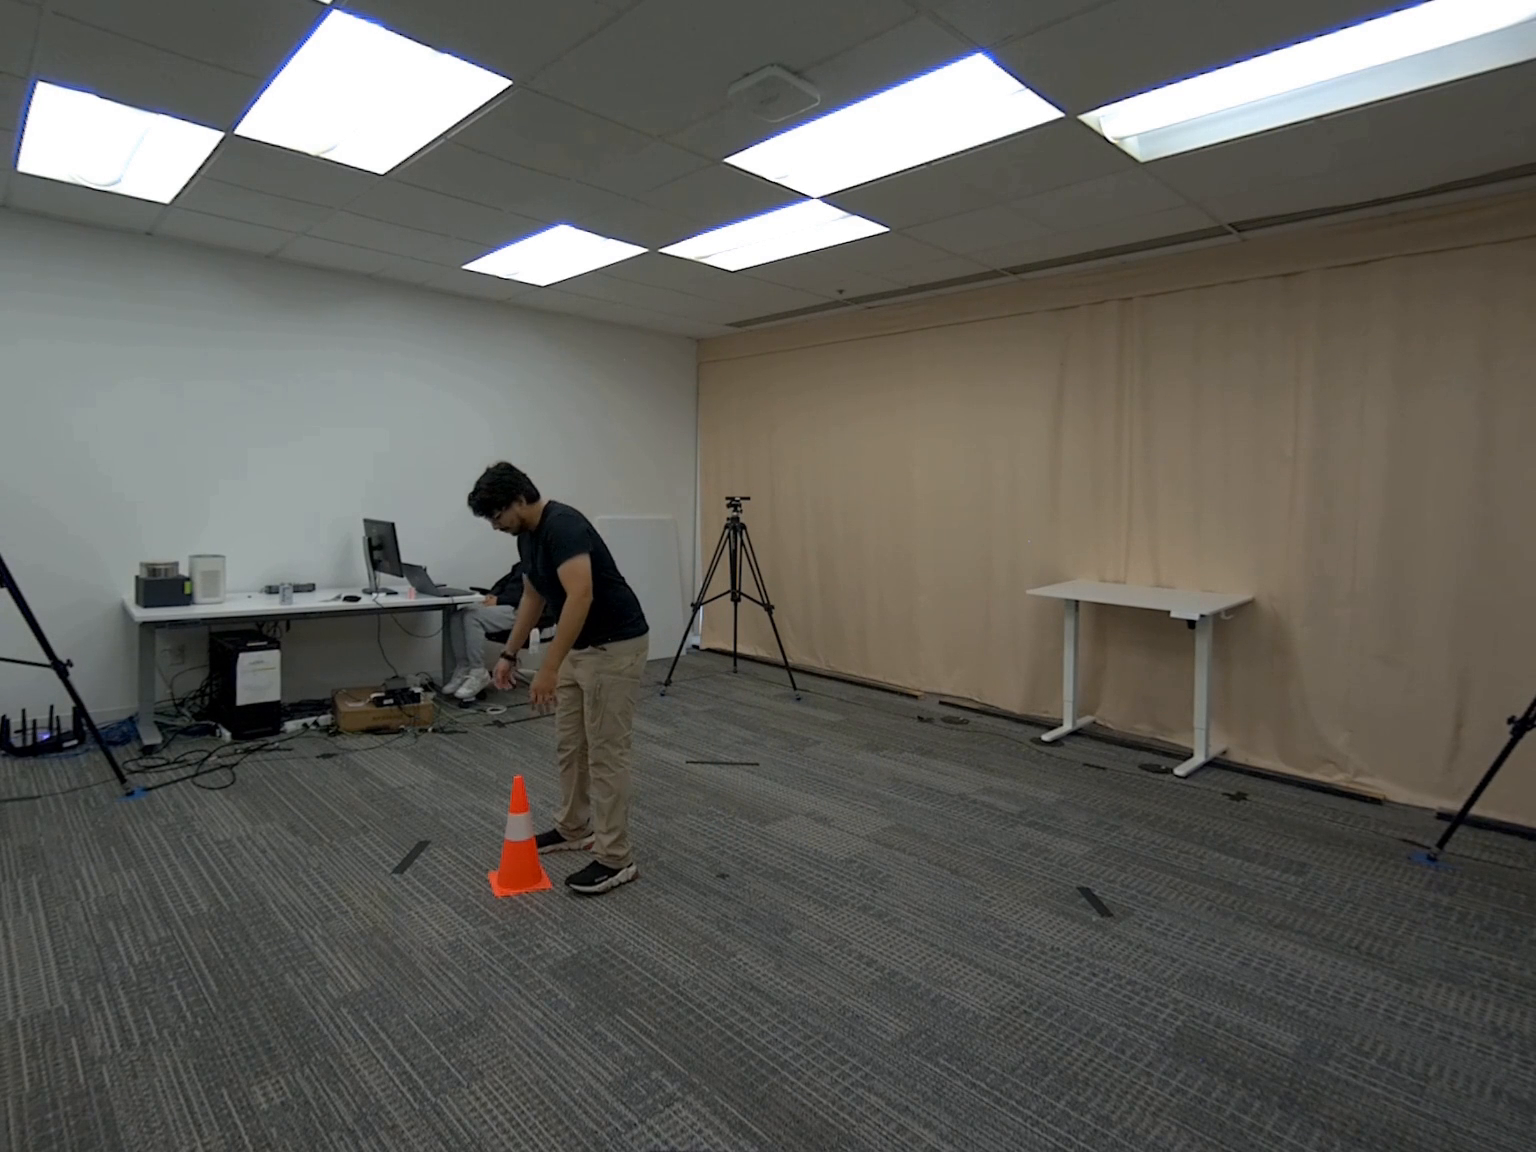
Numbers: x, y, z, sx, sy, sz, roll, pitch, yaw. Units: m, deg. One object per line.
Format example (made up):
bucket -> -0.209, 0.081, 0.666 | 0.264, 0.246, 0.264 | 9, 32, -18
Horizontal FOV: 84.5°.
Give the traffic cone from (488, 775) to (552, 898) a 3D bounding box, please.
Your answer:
traffic cone -> -0.888, 0.908, 3.017 | 0.200, 0.382, 0.209 | 1, 7, -35
